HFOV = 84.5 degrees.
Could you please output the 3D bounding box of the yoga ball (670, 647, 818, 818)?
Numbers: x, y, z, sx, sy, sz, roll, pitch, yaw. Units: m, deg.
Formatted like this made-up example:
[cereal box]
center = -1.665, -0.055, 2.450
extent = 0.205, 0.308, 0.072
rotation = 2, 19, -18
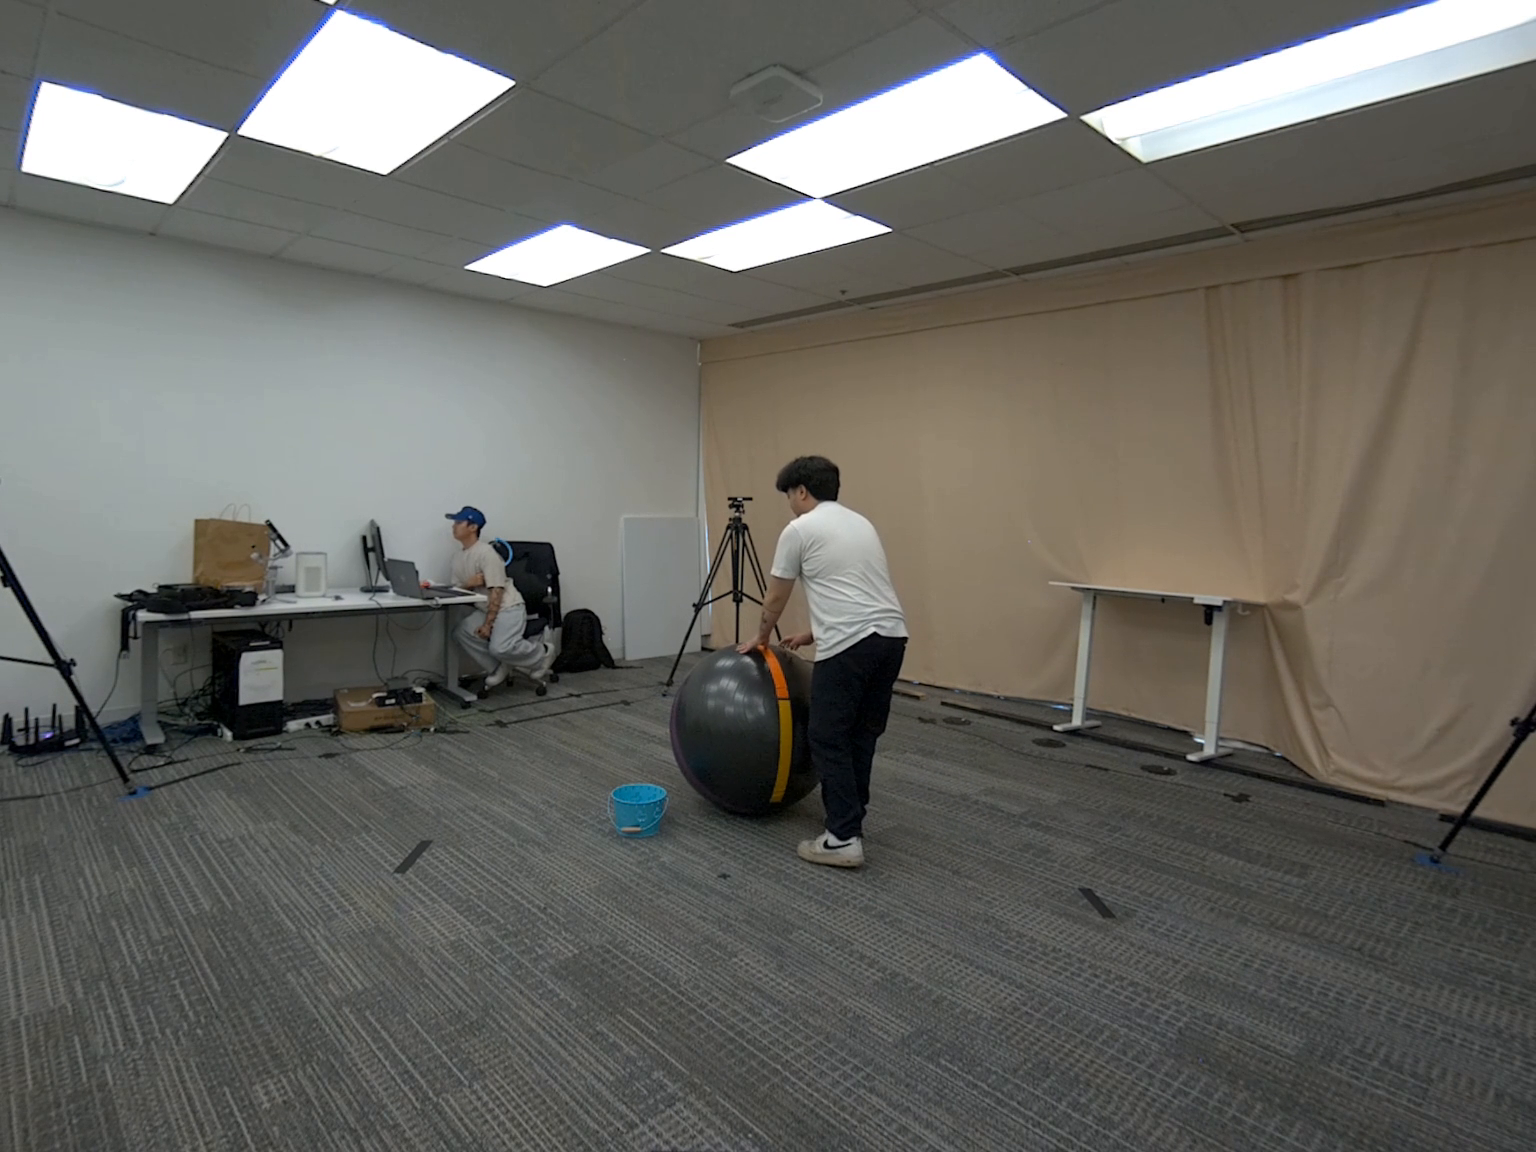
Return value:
[yoga ball]
center = -0.072, 0.689, 3.823
extent = 0.757, 0.756, 0.761
rotation = 1, 4, -1
